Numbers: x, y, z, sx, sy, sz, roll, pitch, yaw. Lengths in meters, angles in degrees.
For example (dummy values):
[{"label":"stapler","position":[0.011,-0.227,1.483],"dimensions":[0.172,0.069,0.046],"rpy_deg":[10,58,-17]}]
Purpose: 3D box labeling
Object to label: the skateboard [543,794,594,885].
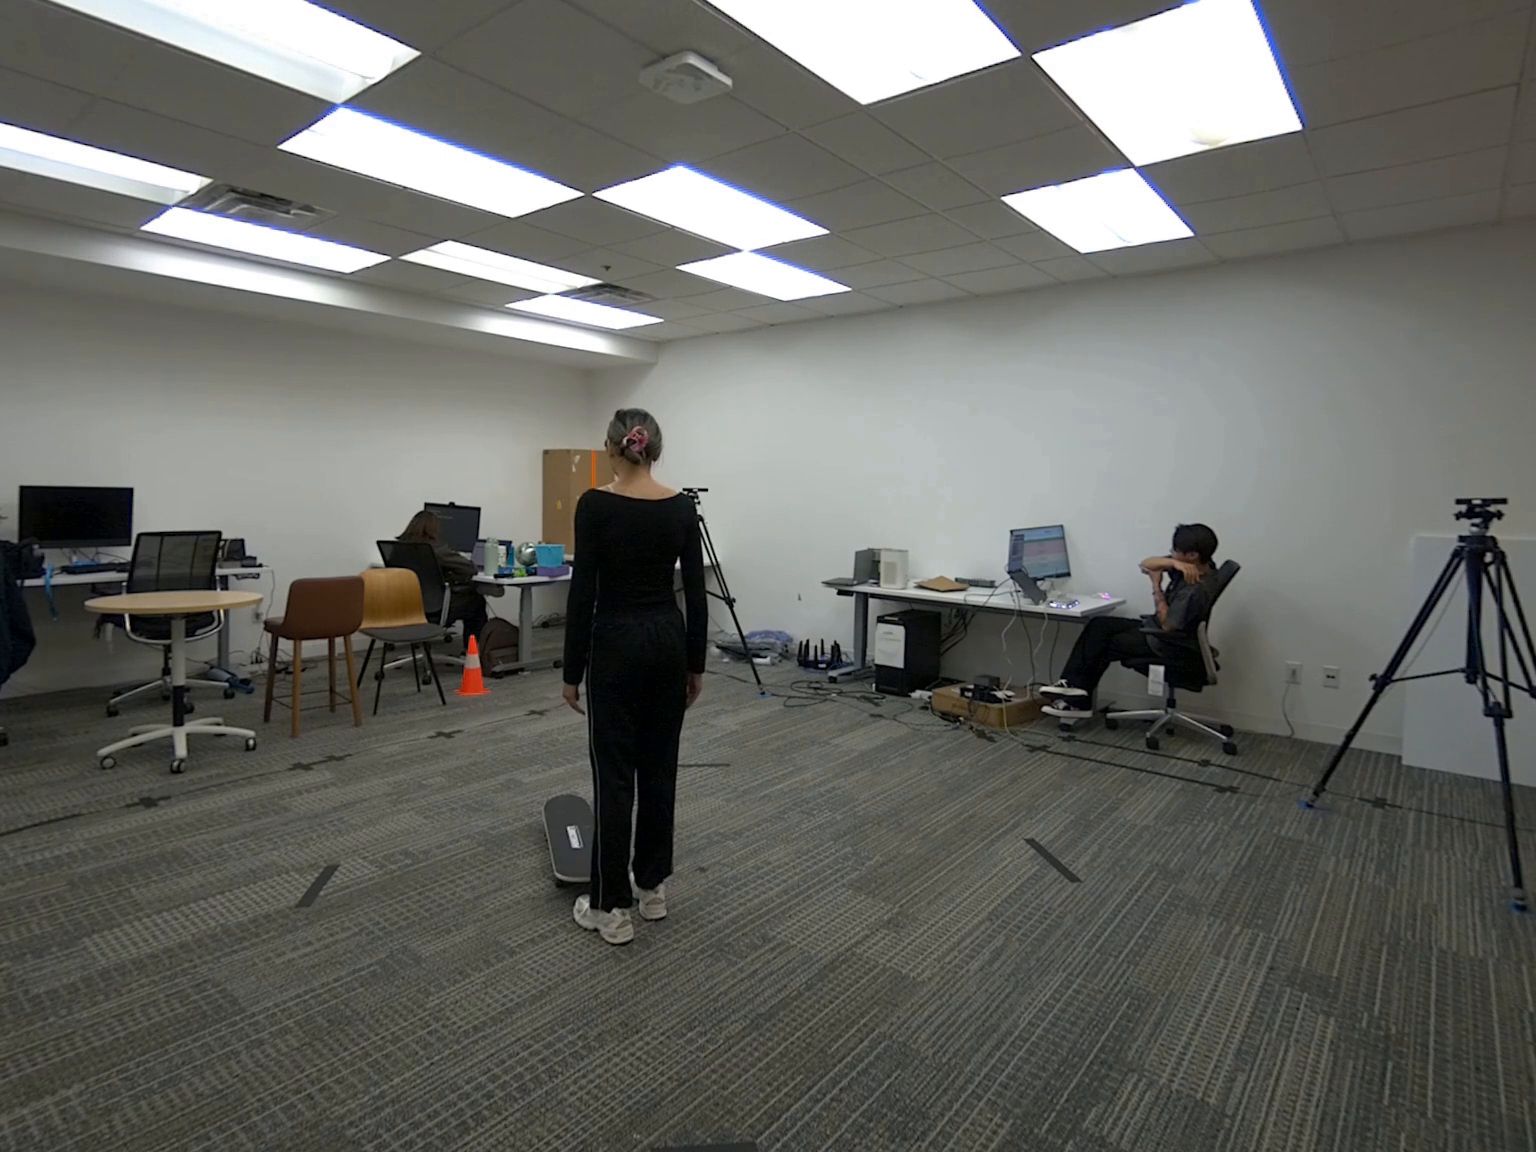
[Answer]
[{"label":"skateboard","position":[-0.736,1.001,3.163],"dimensions":[0.190,0.110,0.802],"rpy_deg":[1,6,-18]}]
